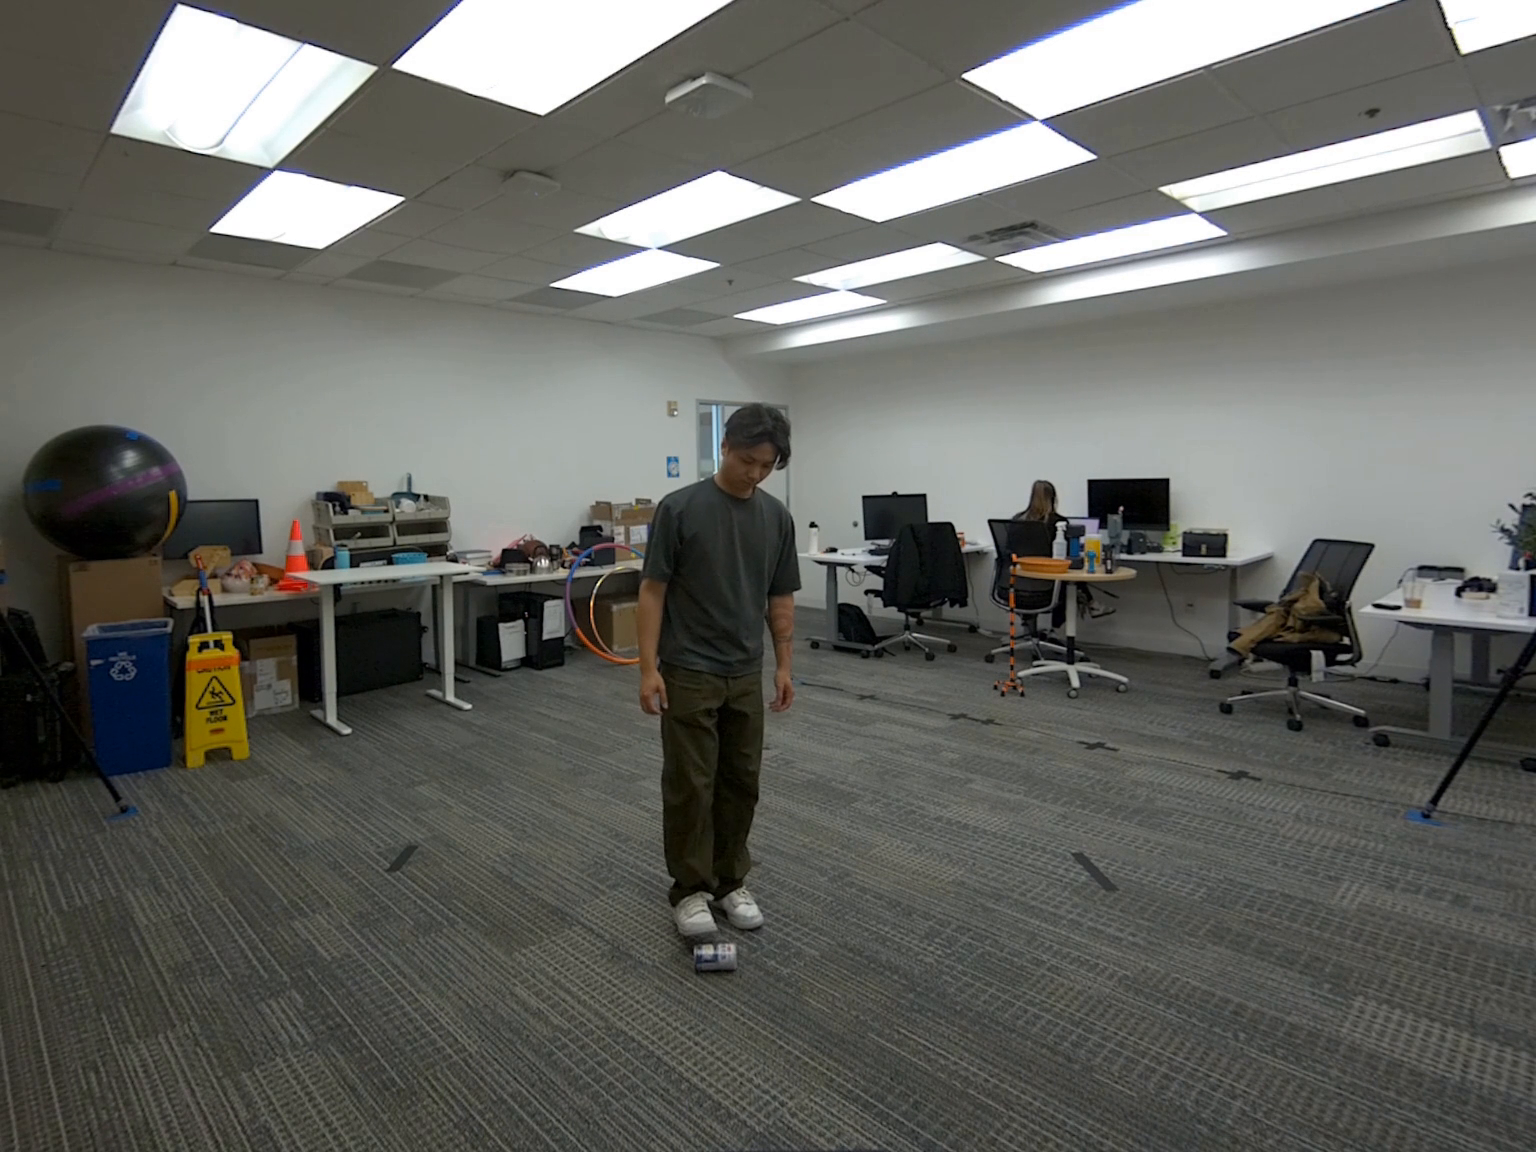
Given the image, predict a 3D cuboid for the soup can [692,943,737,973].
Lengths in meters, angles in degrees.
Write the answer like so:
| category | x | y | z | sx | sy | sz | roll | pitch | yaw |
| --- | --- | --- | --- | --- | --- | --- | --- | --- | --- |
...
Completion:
| category | x | y | z | sx | sy | sz | roll | pitch | yaw |
| --- | --- | --- | --- | --- | --- | --- | --- | --- | --- |
| soup can | -0.149 | 1.092 | 2.440 | 0.121 | 0.067 | 0.067 | -3 | 5 | -2 |
